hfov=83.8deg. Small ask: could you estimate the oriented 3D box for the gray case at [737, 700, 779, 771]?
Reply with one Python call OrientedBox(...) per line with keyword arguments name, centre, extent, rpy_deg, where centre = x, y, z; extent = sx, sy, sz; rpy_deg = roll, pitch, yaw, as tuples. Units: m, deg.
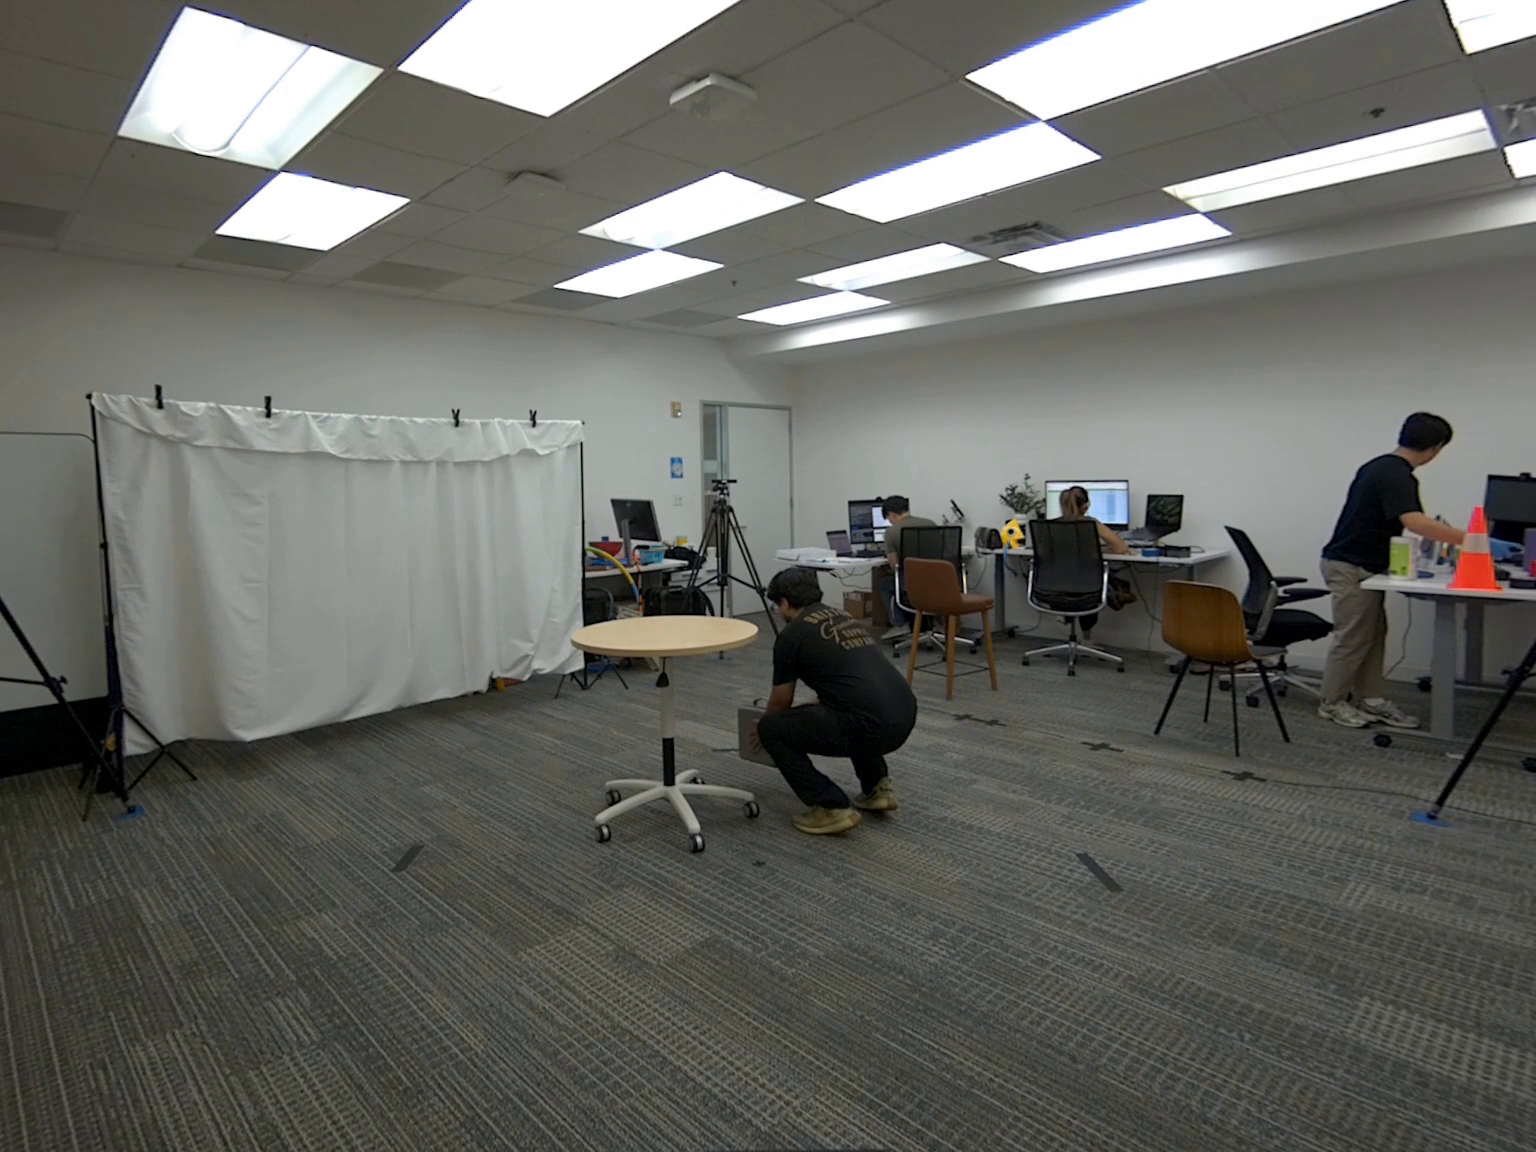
OrientedBox(name="gray case", centre=(-0.011, 0.717, 3.882), extent=(0.101, 0.261, 0.264), rpy_deg=(-2, 0, -41))
